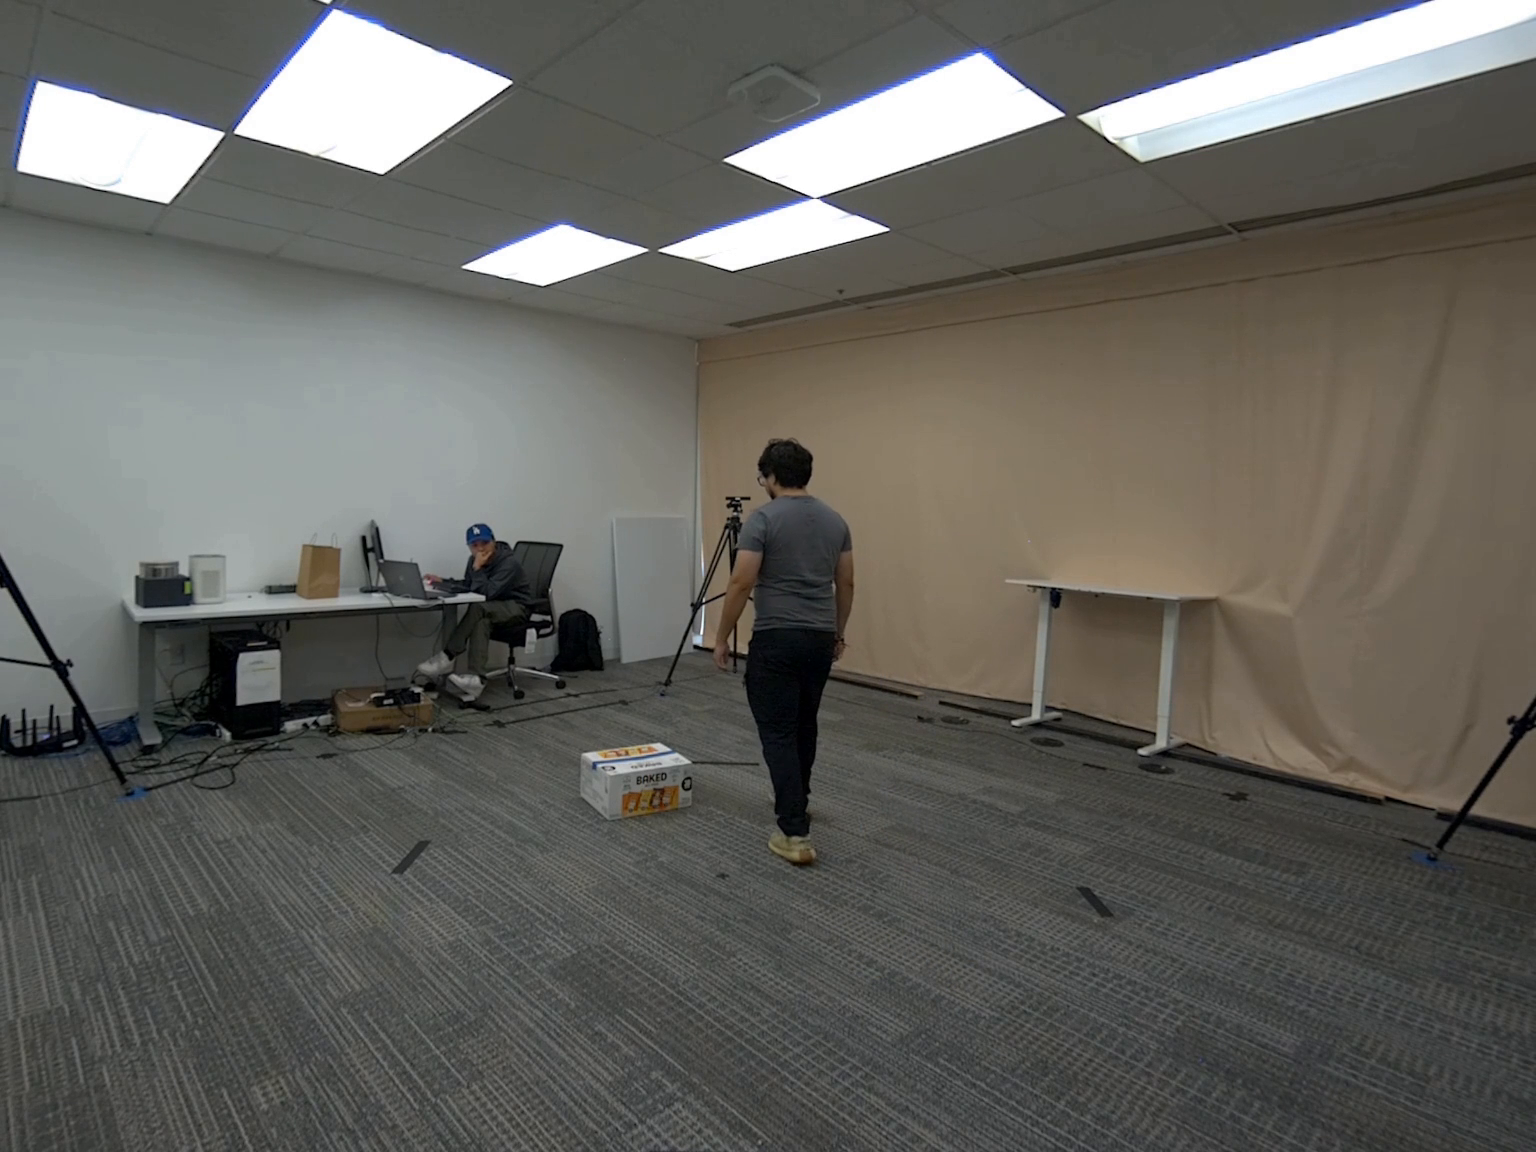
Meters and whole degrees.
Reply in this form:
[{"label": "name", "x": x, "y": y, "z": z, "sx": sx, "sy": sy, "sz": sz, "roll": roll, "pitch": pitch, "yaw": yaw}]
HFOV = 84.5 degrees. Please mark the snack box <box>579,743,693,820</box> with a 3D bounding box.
[{"label": "snack box", "x": -0.614, "y": 0.930, "z": 3.844, "sx": 0.397, "sy": 0.205, "sz": 0.348, "roll": -1, "pitch": 5, "yaw": -32}]
